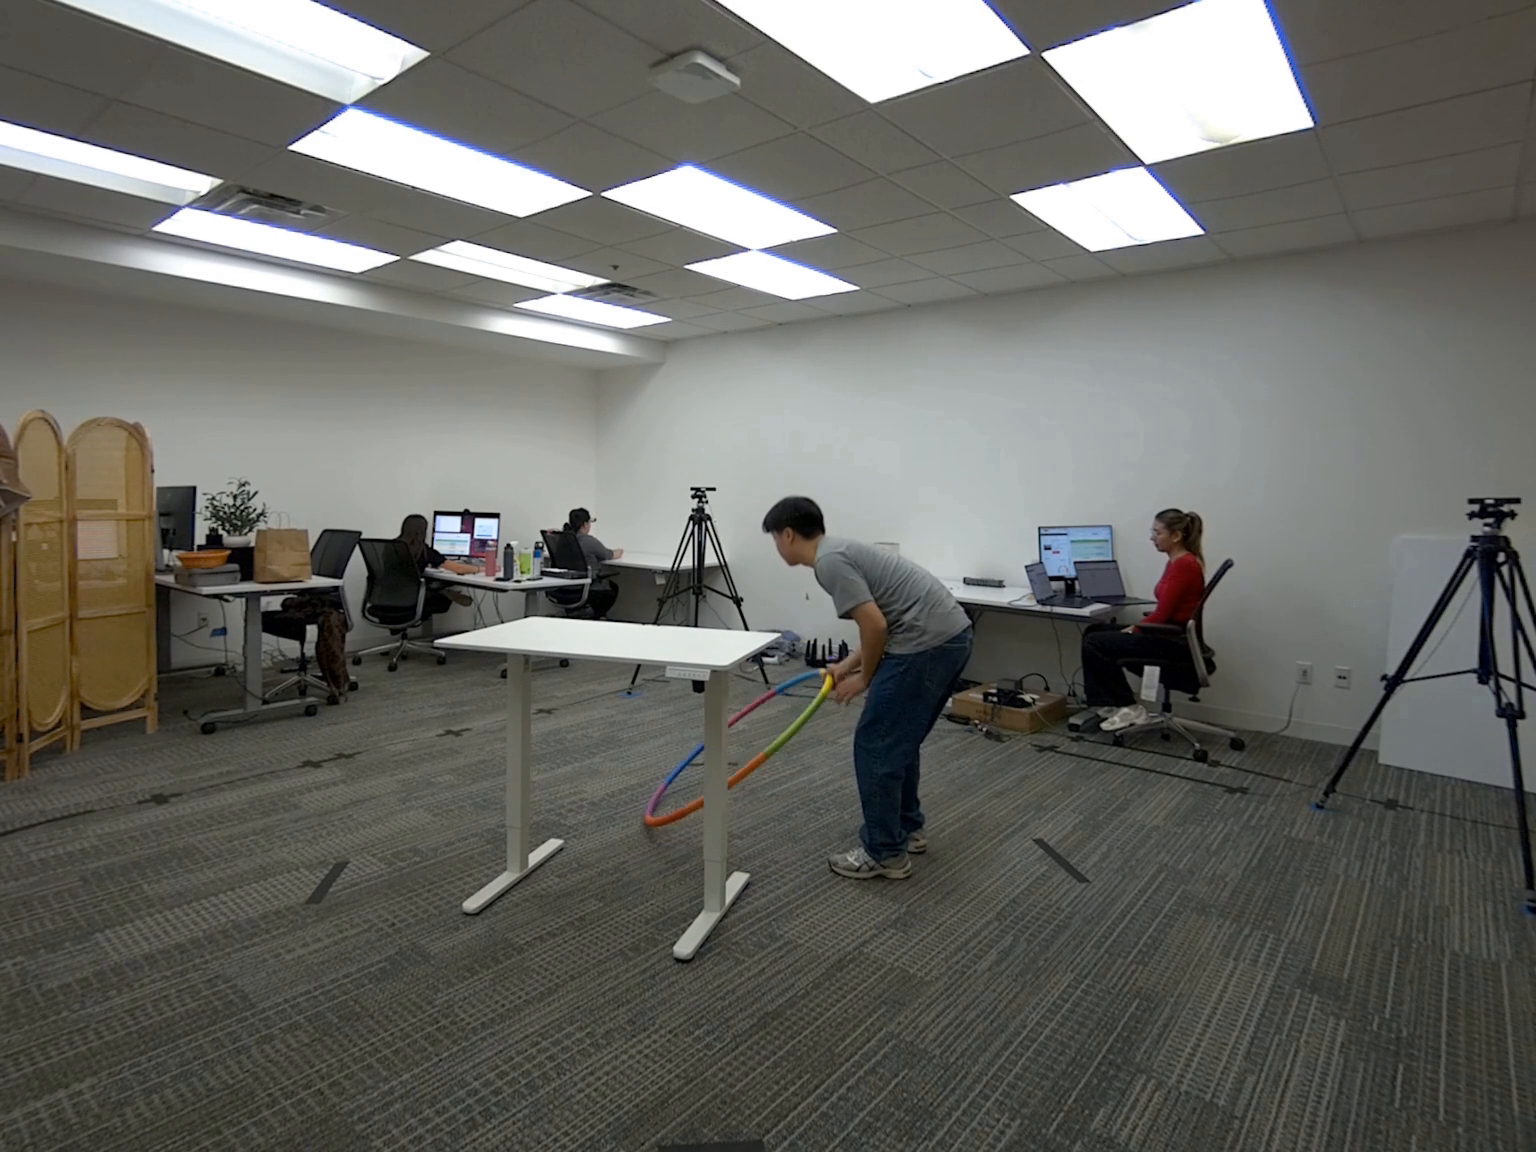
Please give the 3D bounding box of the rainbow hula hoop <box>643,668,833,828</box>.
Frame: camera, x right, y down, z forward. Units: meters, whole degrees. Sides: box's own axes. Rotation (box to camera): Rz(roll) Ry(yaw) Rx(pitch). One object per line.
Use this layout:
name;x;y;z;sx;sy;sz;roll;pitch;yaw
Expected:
rainbow hula hoop;-0.132;0.714;3.581;0.978;0.035;0.981;-37;4;-1
